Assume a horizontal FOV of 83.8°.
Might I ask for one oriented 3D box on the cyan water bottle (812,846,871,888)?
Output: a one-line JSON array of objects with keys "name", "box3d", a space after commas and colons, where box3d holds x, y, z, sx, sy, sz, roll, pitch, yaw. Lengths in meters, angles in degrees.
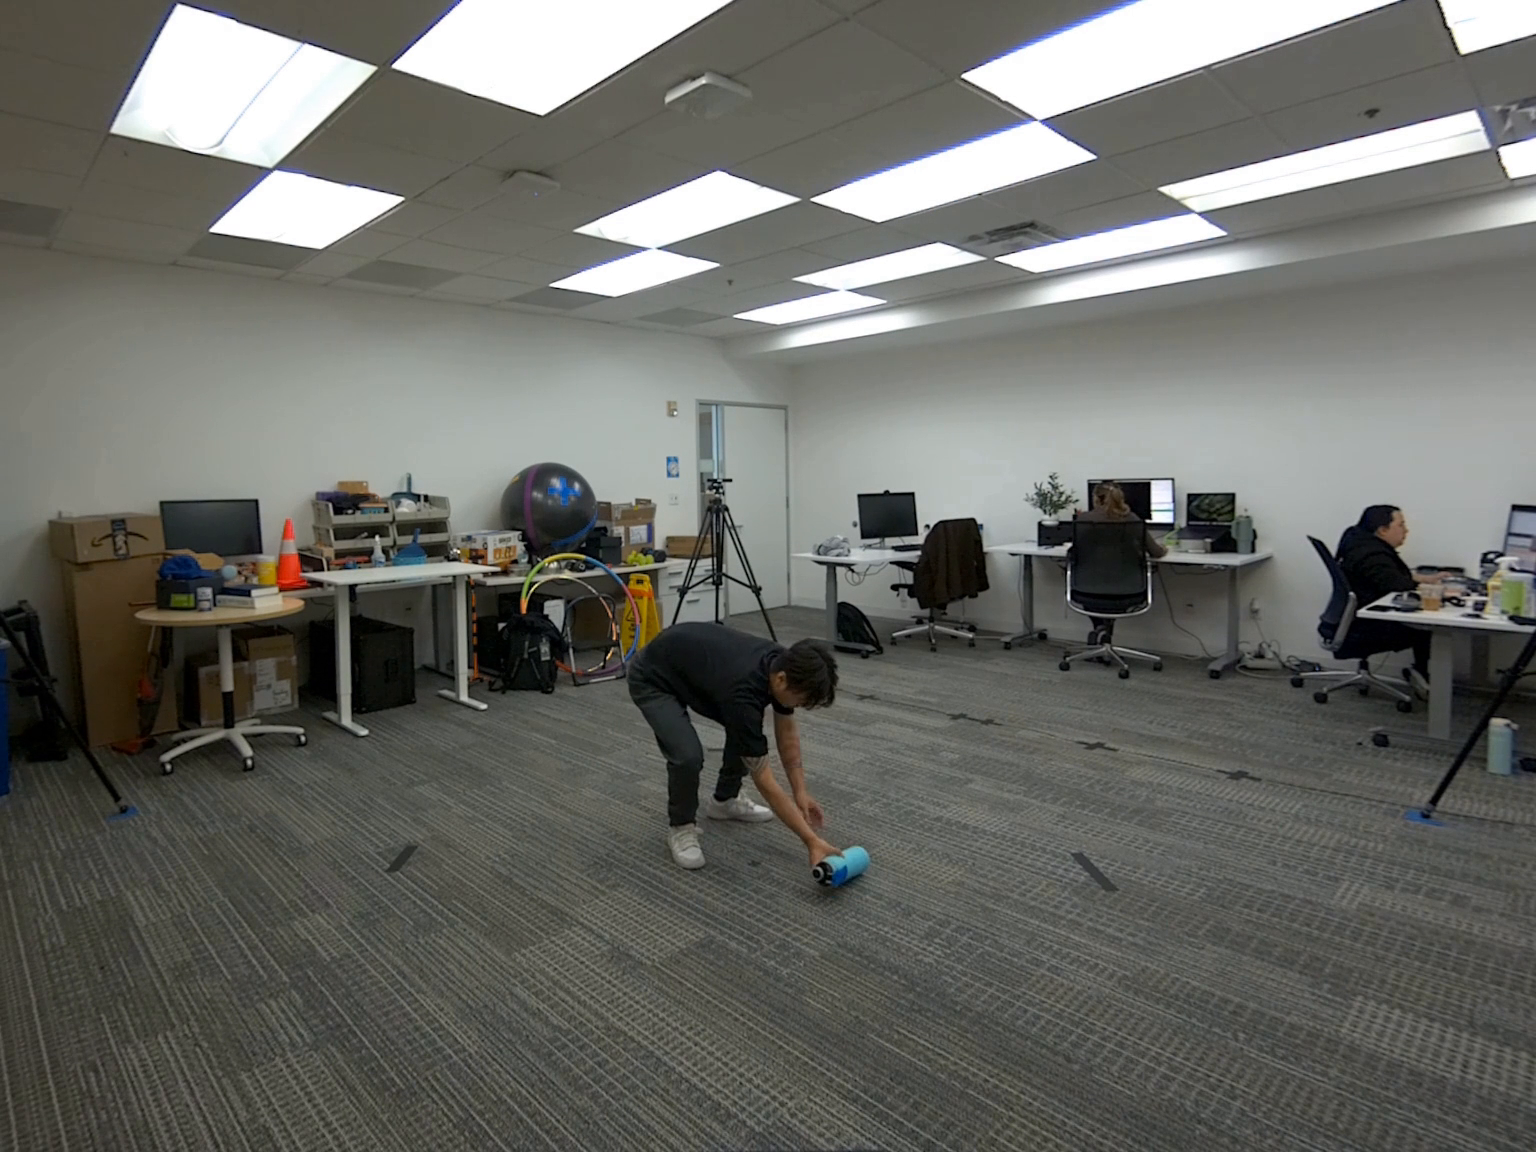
[{"name": "cyan water bottle", "box3d": [0.253, 0.998, 2.900, 0.095, 0.092, 0.275, 2, -2, 34]}]
